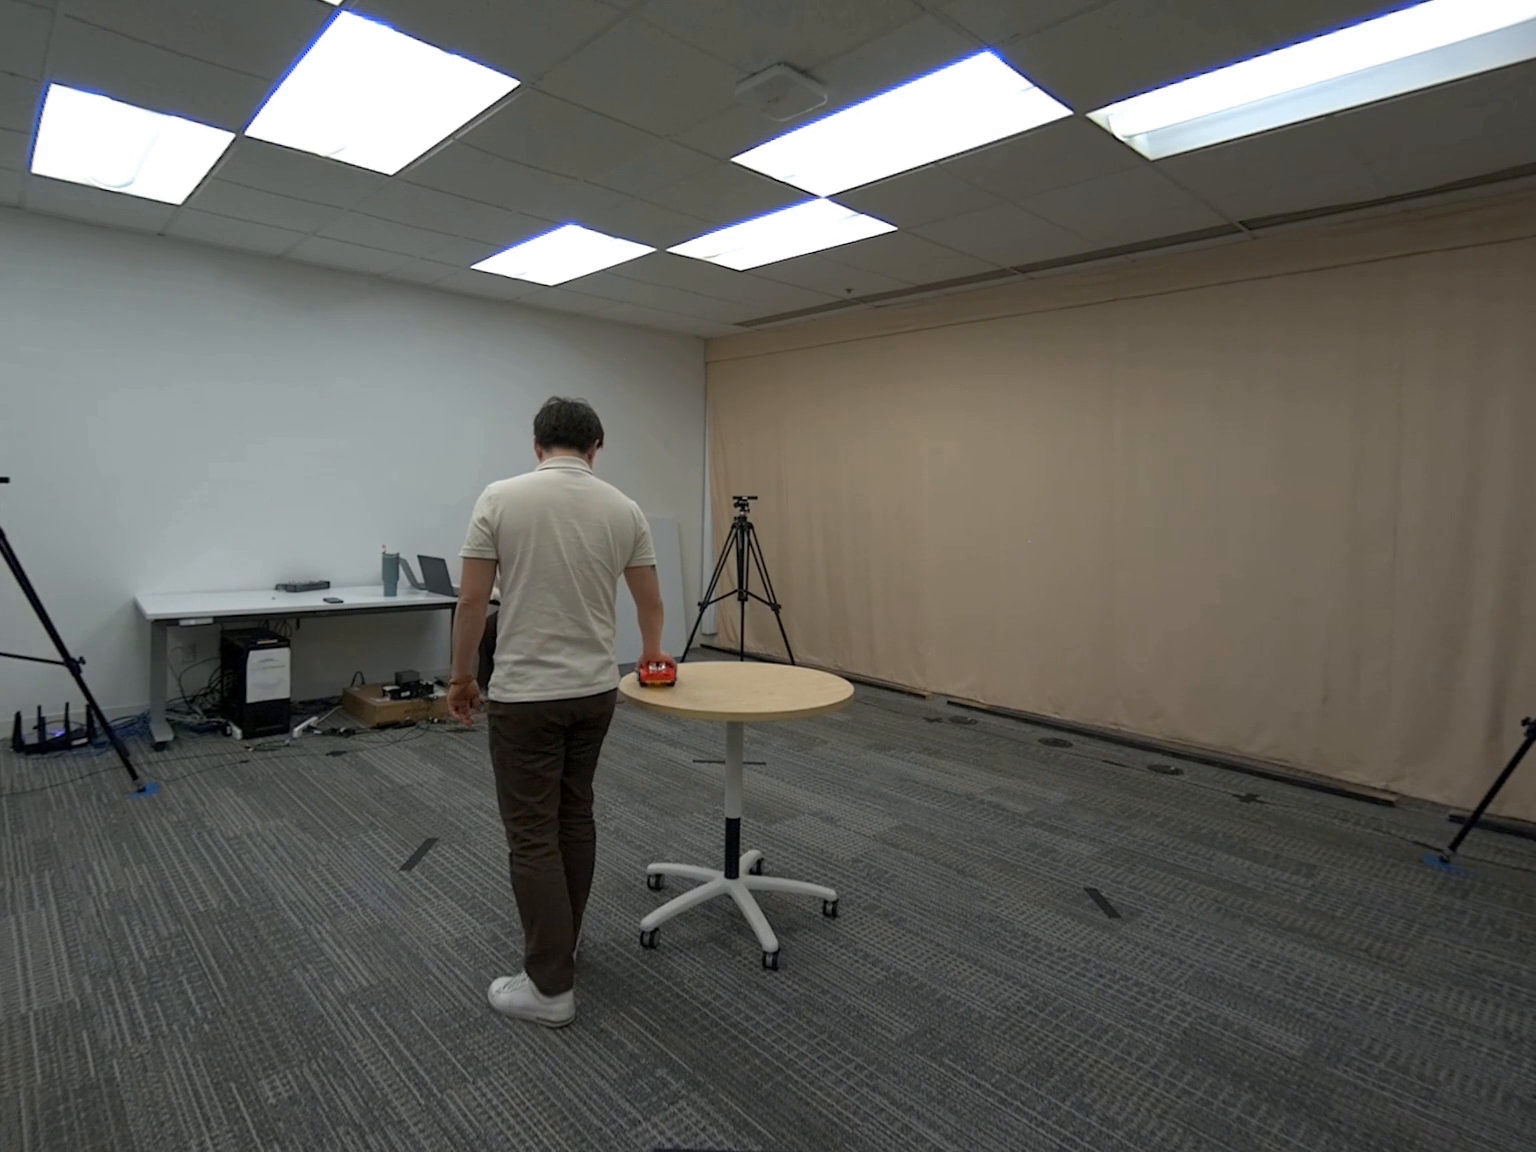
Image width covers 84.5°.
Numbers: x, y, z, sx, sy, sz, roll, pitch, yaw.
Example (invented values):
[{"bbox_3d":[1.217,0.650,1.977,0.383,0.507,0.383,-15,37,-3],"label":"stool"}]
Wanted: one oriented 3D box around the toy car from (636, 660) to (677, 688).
[{"bbox_3d":[-0.371,0.318,2.730,0.129,0.084,0.255,0,-6,-9],"label":"toy car"}]
